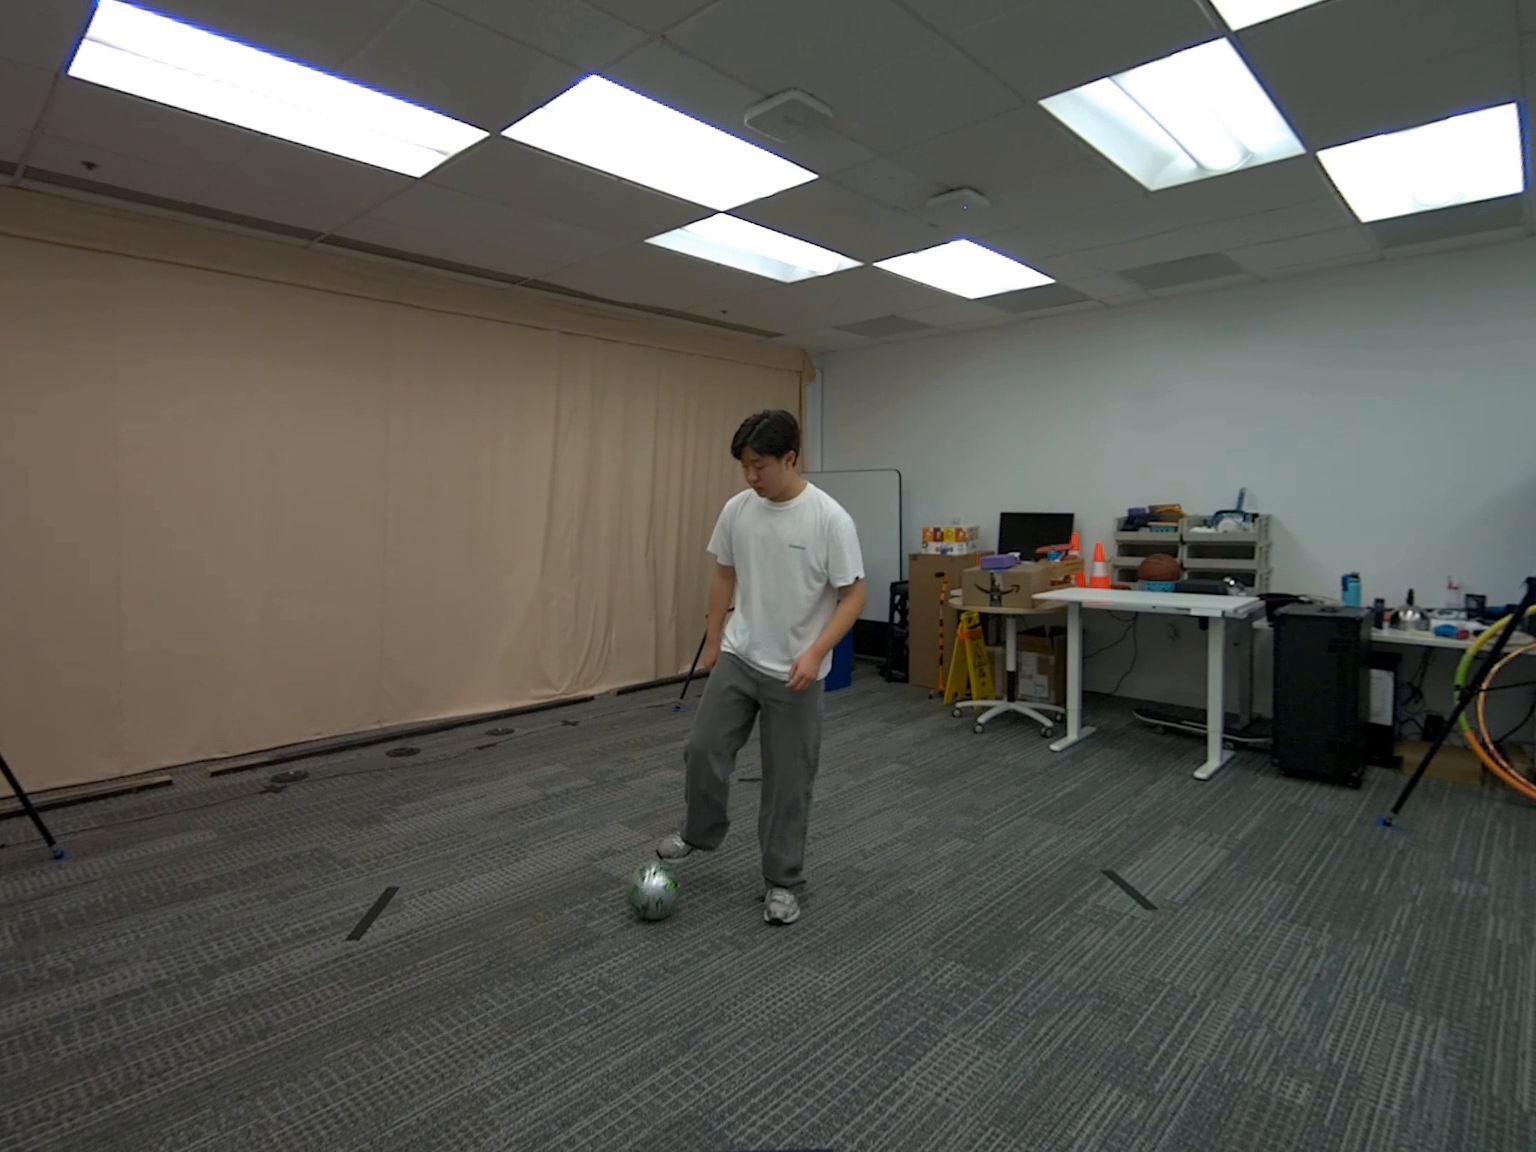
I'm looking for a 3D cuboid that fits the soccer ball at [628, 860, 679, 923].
[{"bbox_3d":[-0.377,1.062,2.827,0.187,0.187,0.188,0,4,-2],"label":"soccer ball"}]
